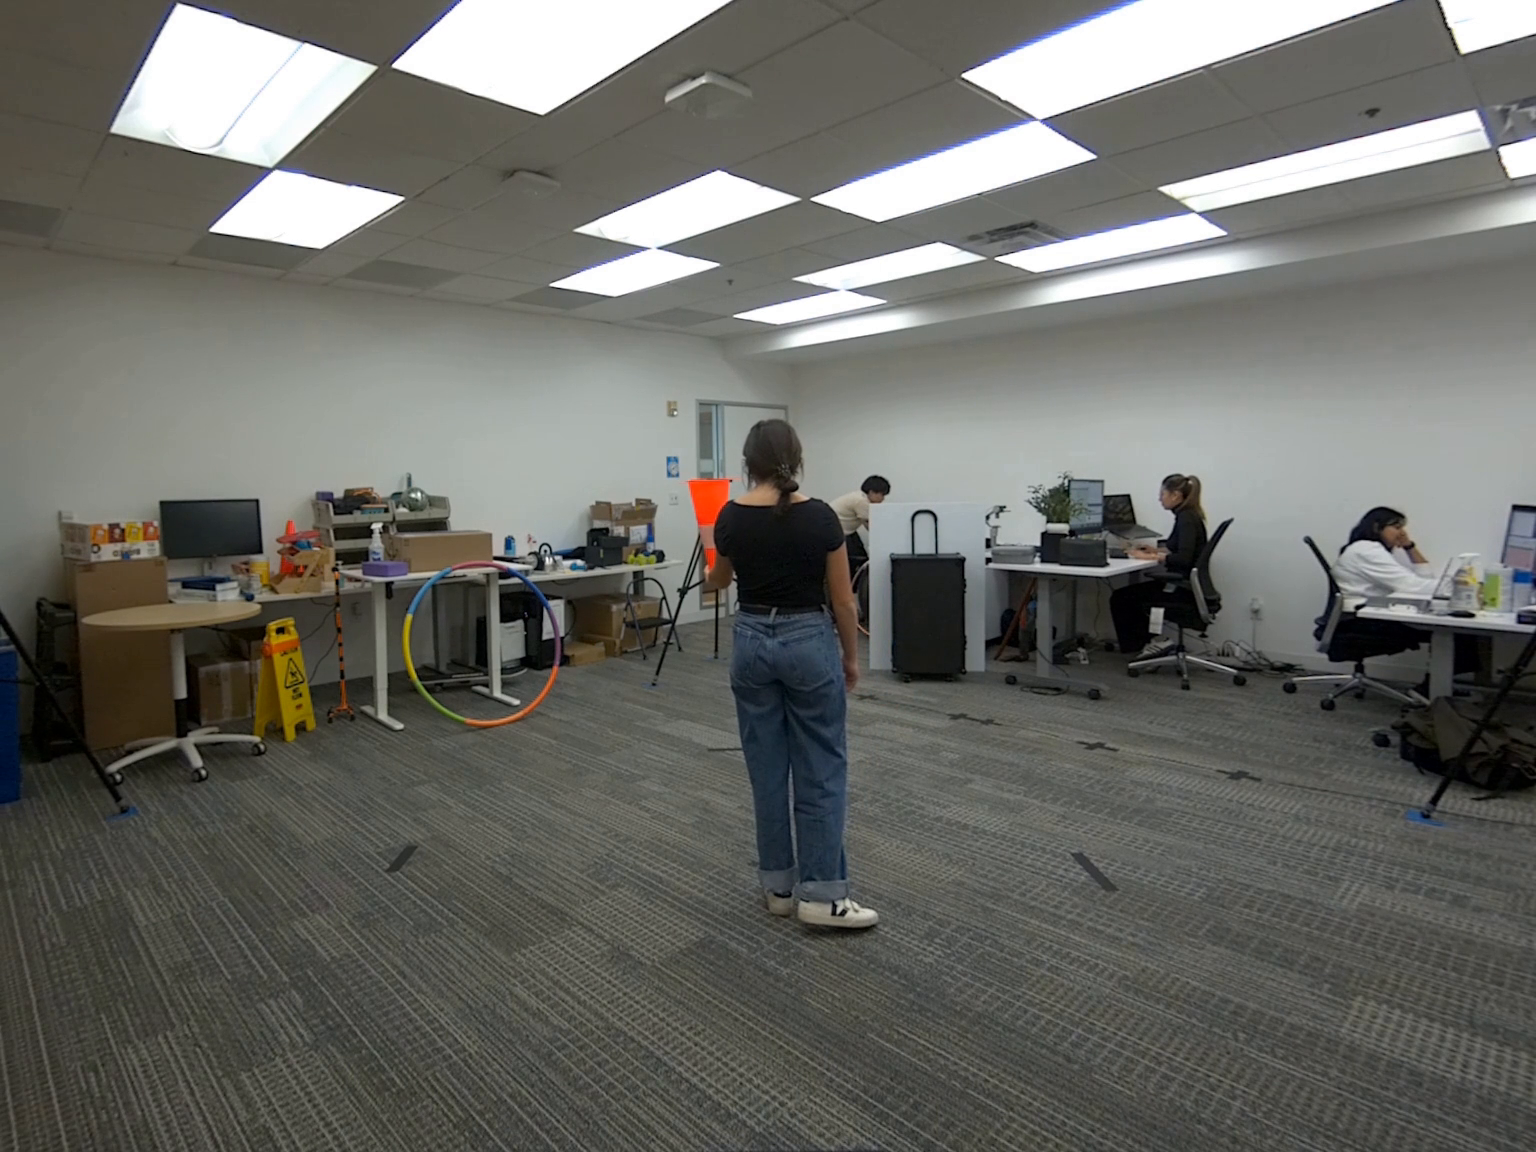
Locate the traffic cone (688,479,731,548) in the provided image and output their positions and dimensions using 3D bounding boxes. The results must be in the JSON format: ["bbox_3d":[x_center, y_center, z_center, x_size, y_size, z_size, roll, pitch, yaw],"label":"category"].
[{"bbox_3d":[-0.209,-0.172,3.262,0.201,0.382,0.208,-5,5,-21],"label":"traffic cone"}]
